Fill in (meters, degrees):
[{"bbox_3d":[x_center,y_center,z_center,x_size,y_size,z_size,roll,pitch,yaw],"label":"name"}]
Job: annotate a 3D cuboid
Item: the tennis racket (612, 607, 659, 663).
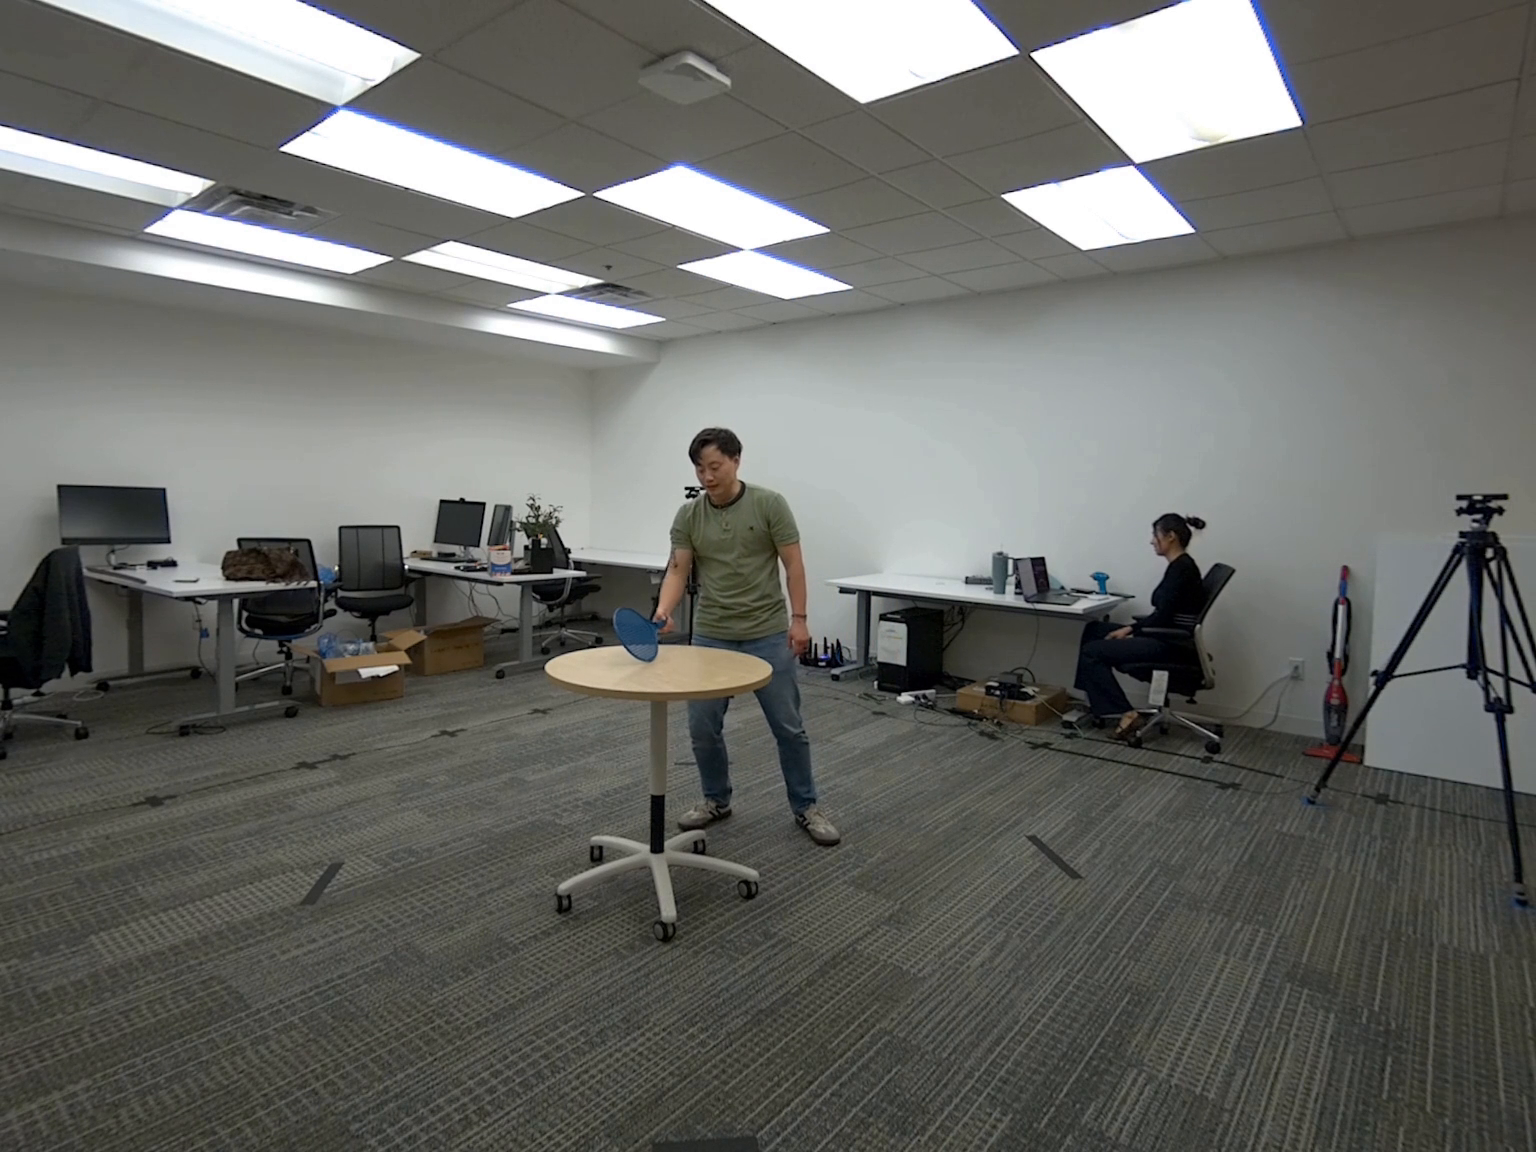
[{"bbox_3d":[-0.455,0.196,3.043,0.032,0.215,0.428,-34,-4,12],"label":"tennis racket"}]
